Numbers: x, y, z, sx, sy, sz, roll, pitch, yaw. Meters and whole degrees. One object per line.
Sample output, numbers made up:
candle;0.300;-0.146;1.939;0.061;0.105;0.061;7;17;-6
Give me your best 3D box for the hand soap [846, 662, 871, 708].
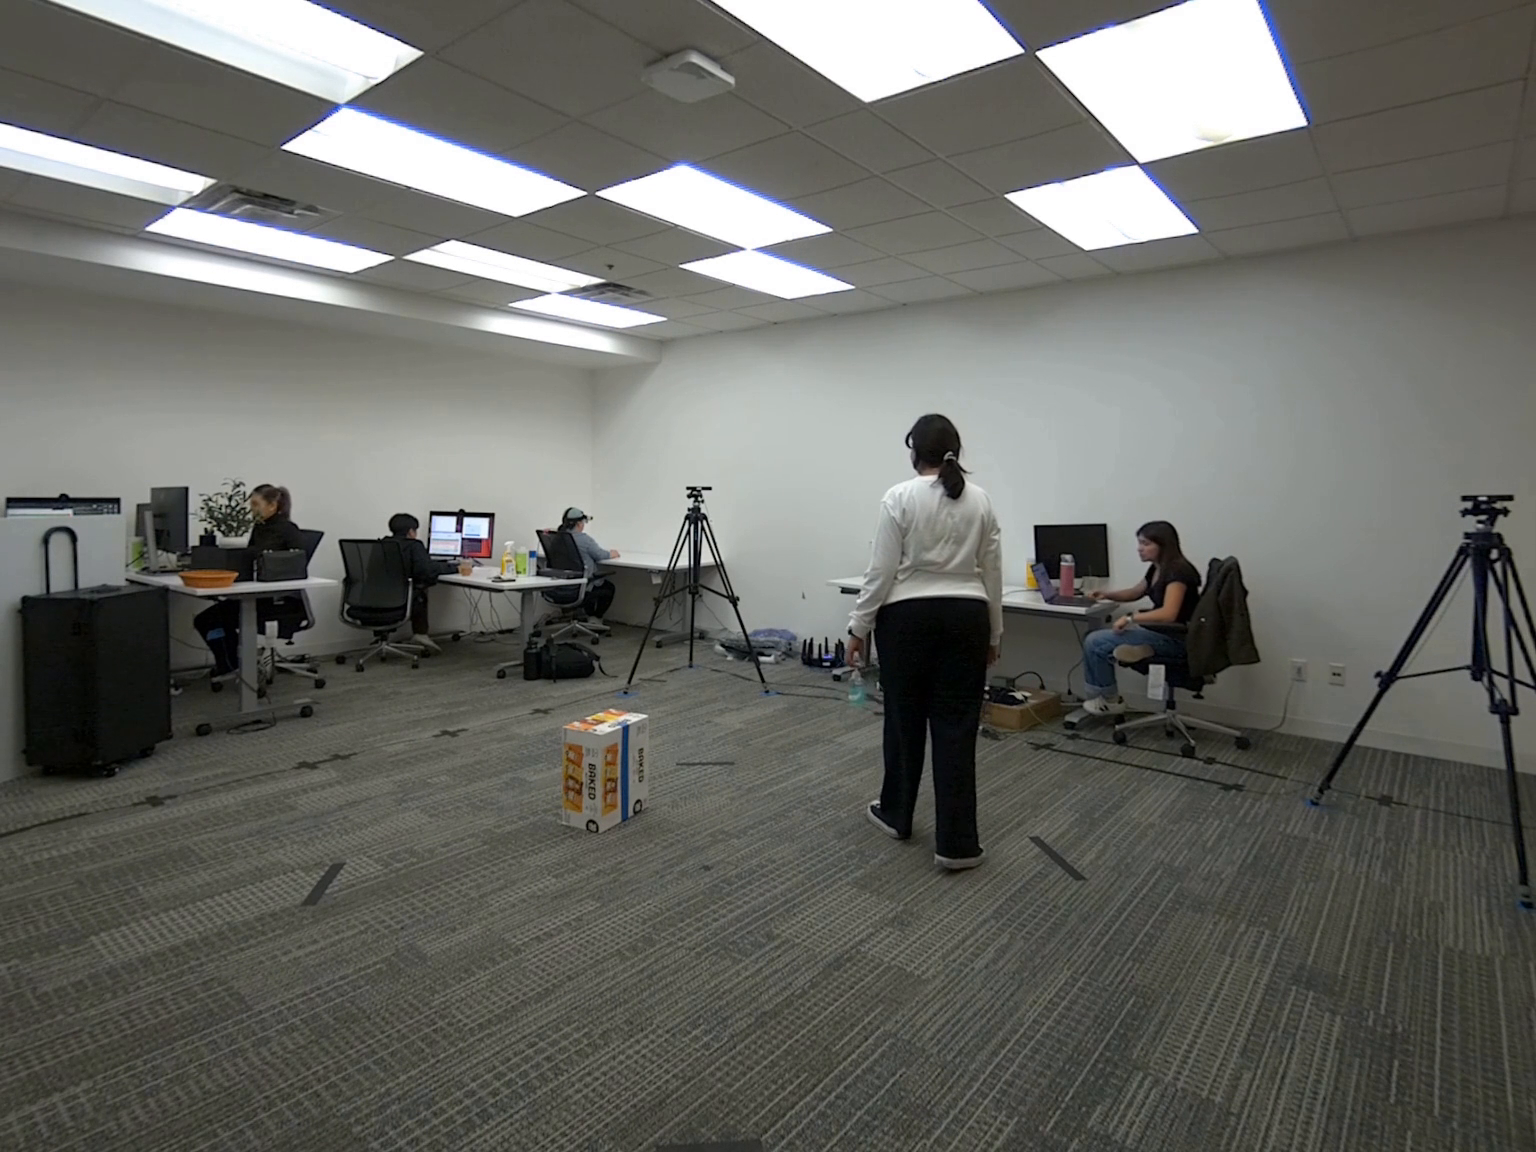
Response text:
hand soap;0.357;0.428;3.347;0.087;0.168;0.042;-2;-3;44
